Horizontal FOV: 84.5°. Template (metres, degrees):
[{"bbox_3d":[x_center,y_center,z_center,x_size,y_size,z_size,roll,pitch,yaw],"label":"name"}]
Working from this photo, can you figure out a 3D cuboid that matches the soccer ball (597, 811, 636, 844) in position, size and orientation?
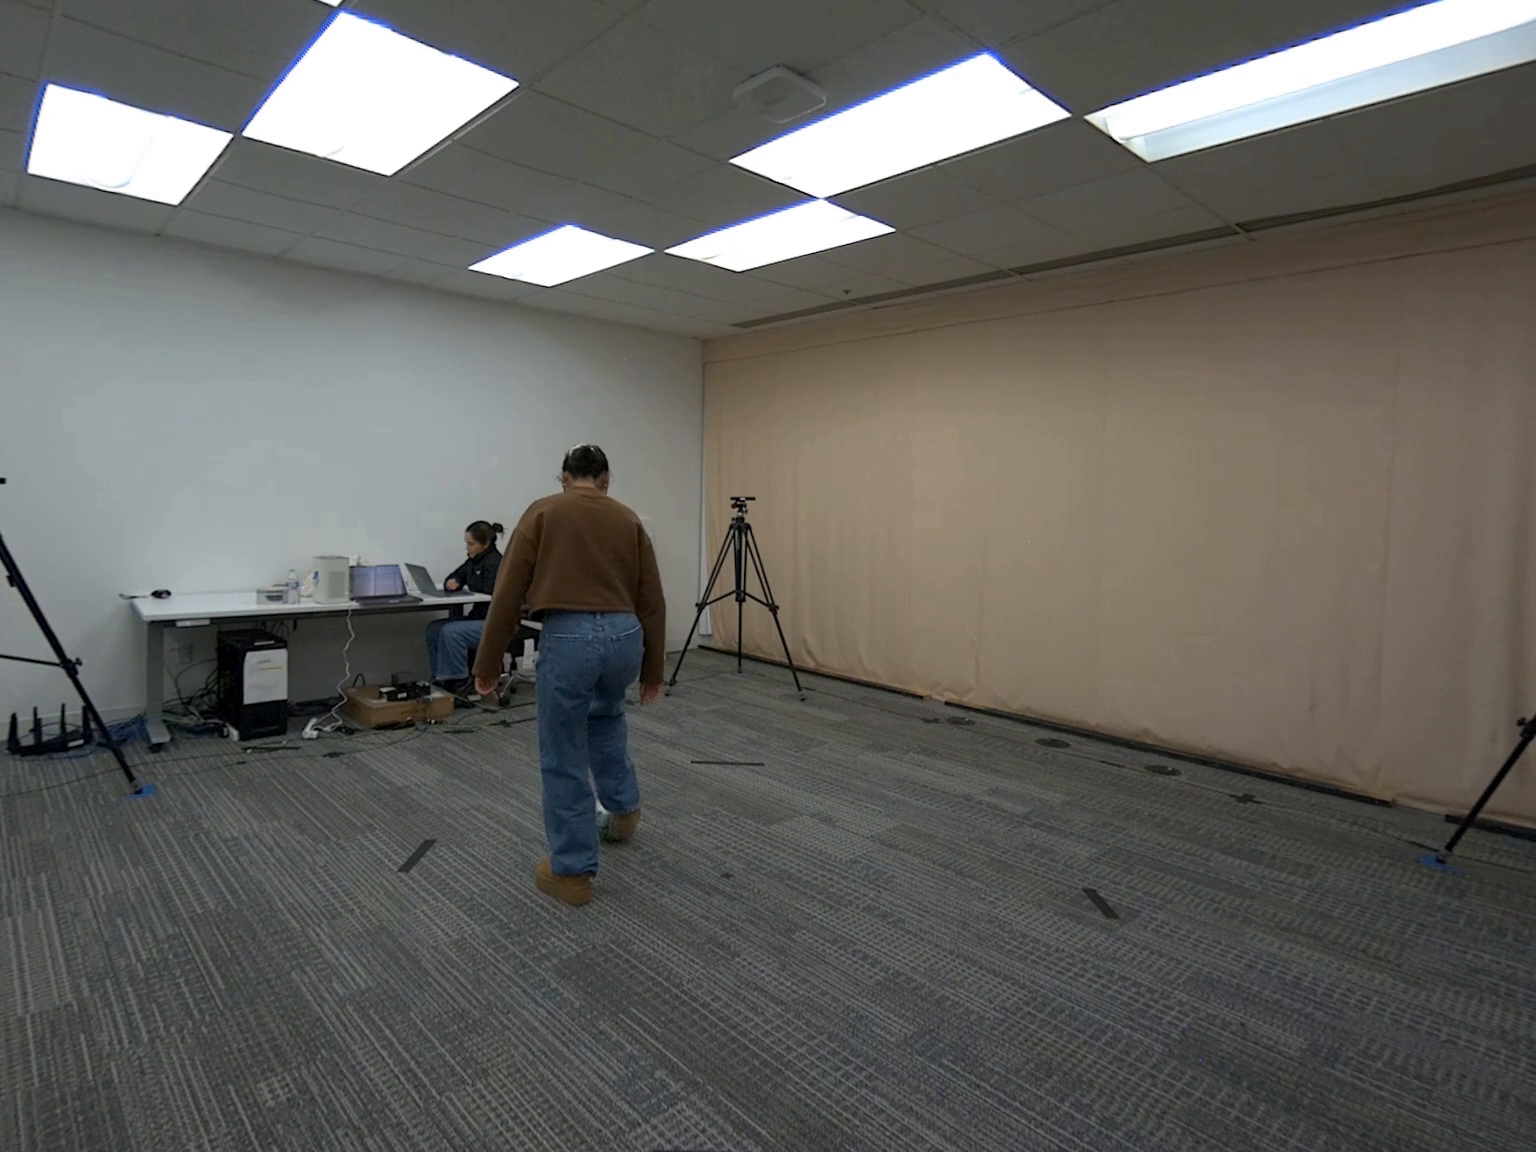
[{"bbox_3d":[-0.627,0.980,3.409,0.187,0.187,0.188,1,4,-1],"label":"soccer ball"}]
